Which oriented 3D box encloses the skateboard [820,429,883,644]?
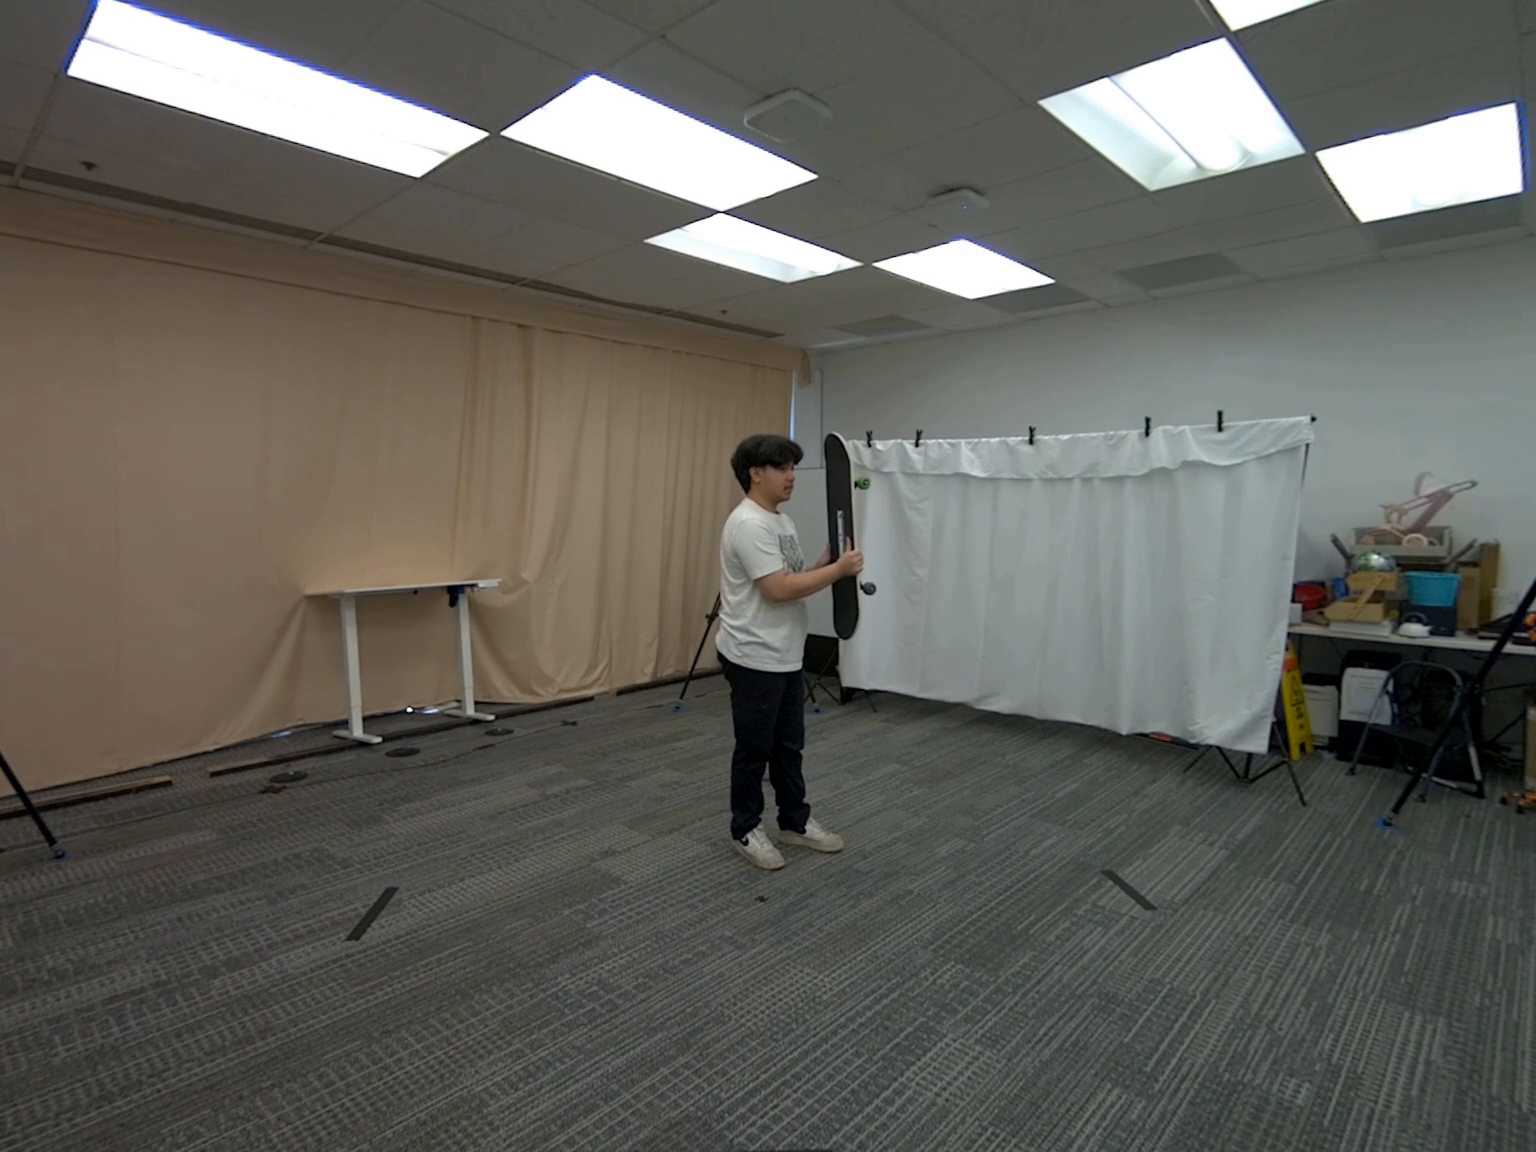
[{"bbox_3d":[0.315,-0.153,3.214,0.108,0.783,0.198,-5,5,-25],"label":"skateboard"}]
